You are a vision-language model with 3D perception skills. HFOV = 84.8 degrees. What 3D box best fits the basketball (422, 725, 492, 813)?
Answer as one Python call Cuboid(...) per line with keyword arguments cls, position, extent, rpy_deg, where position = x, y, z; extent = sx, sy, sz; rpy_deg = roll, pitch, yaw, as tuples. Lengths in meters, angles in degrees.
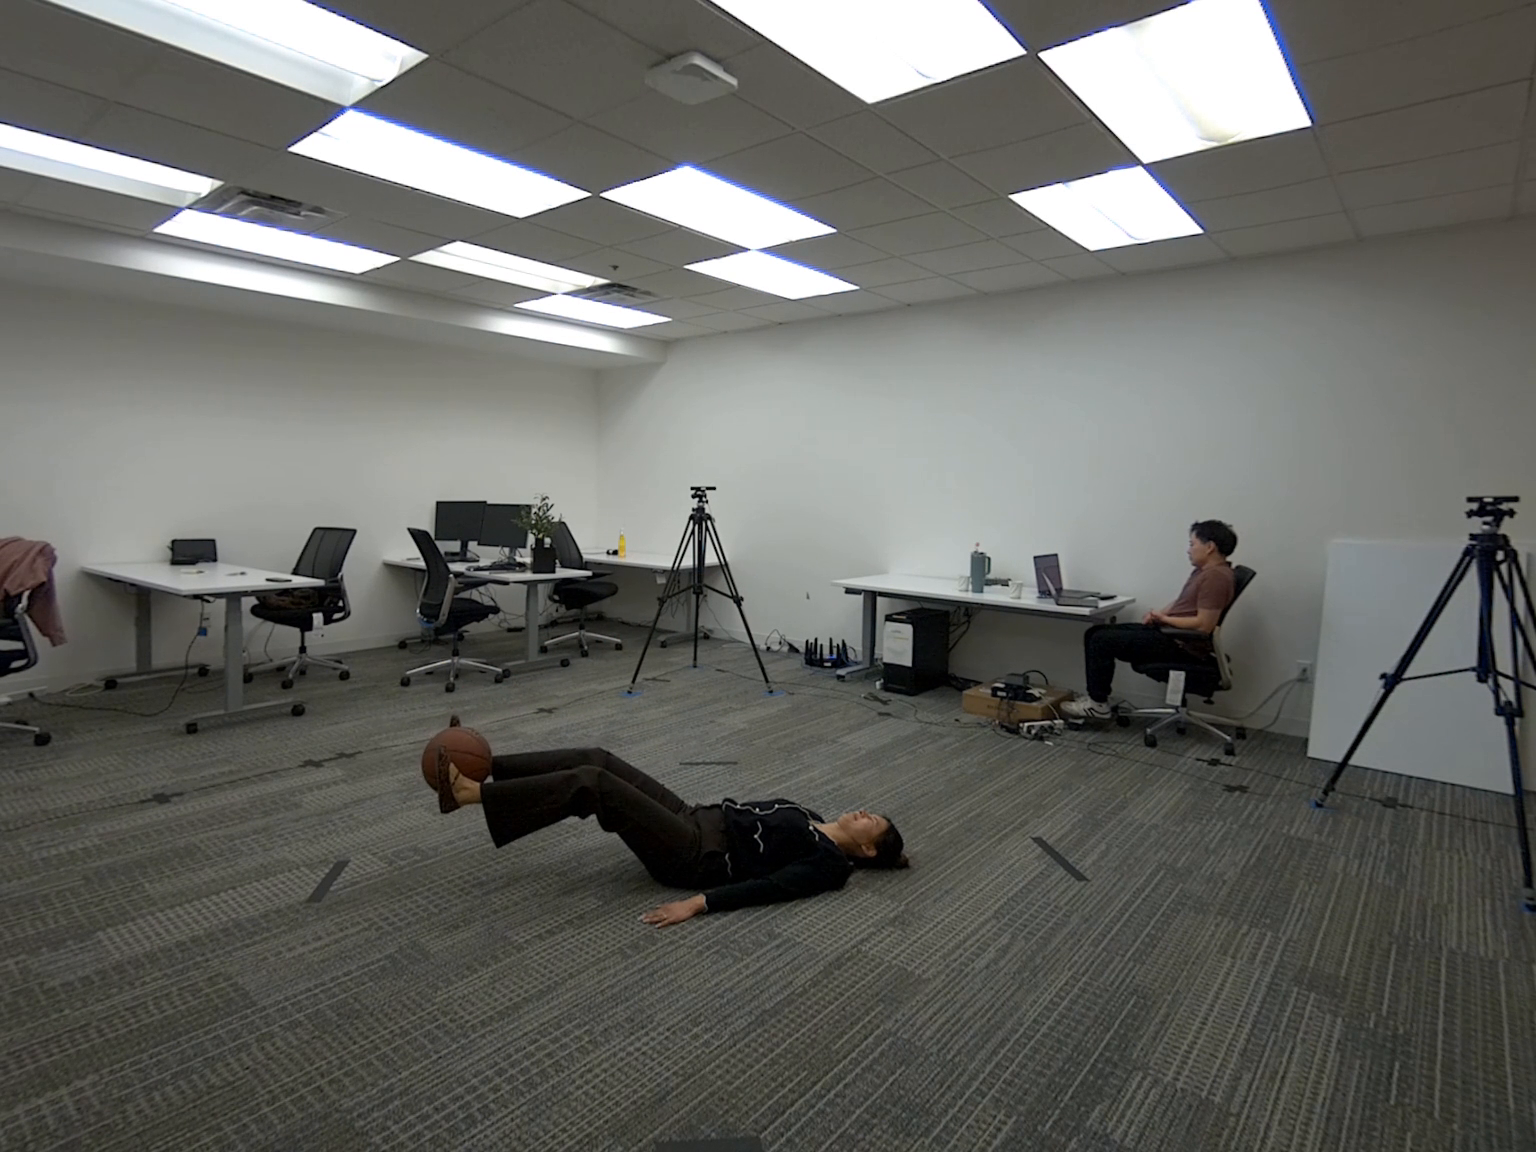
Cuboid(cls="basketball", position=(-1.095, 0.641, 2.957), extent=(0.236, 0.234, 0.238), rpy_deg=(0, 7, -2))
